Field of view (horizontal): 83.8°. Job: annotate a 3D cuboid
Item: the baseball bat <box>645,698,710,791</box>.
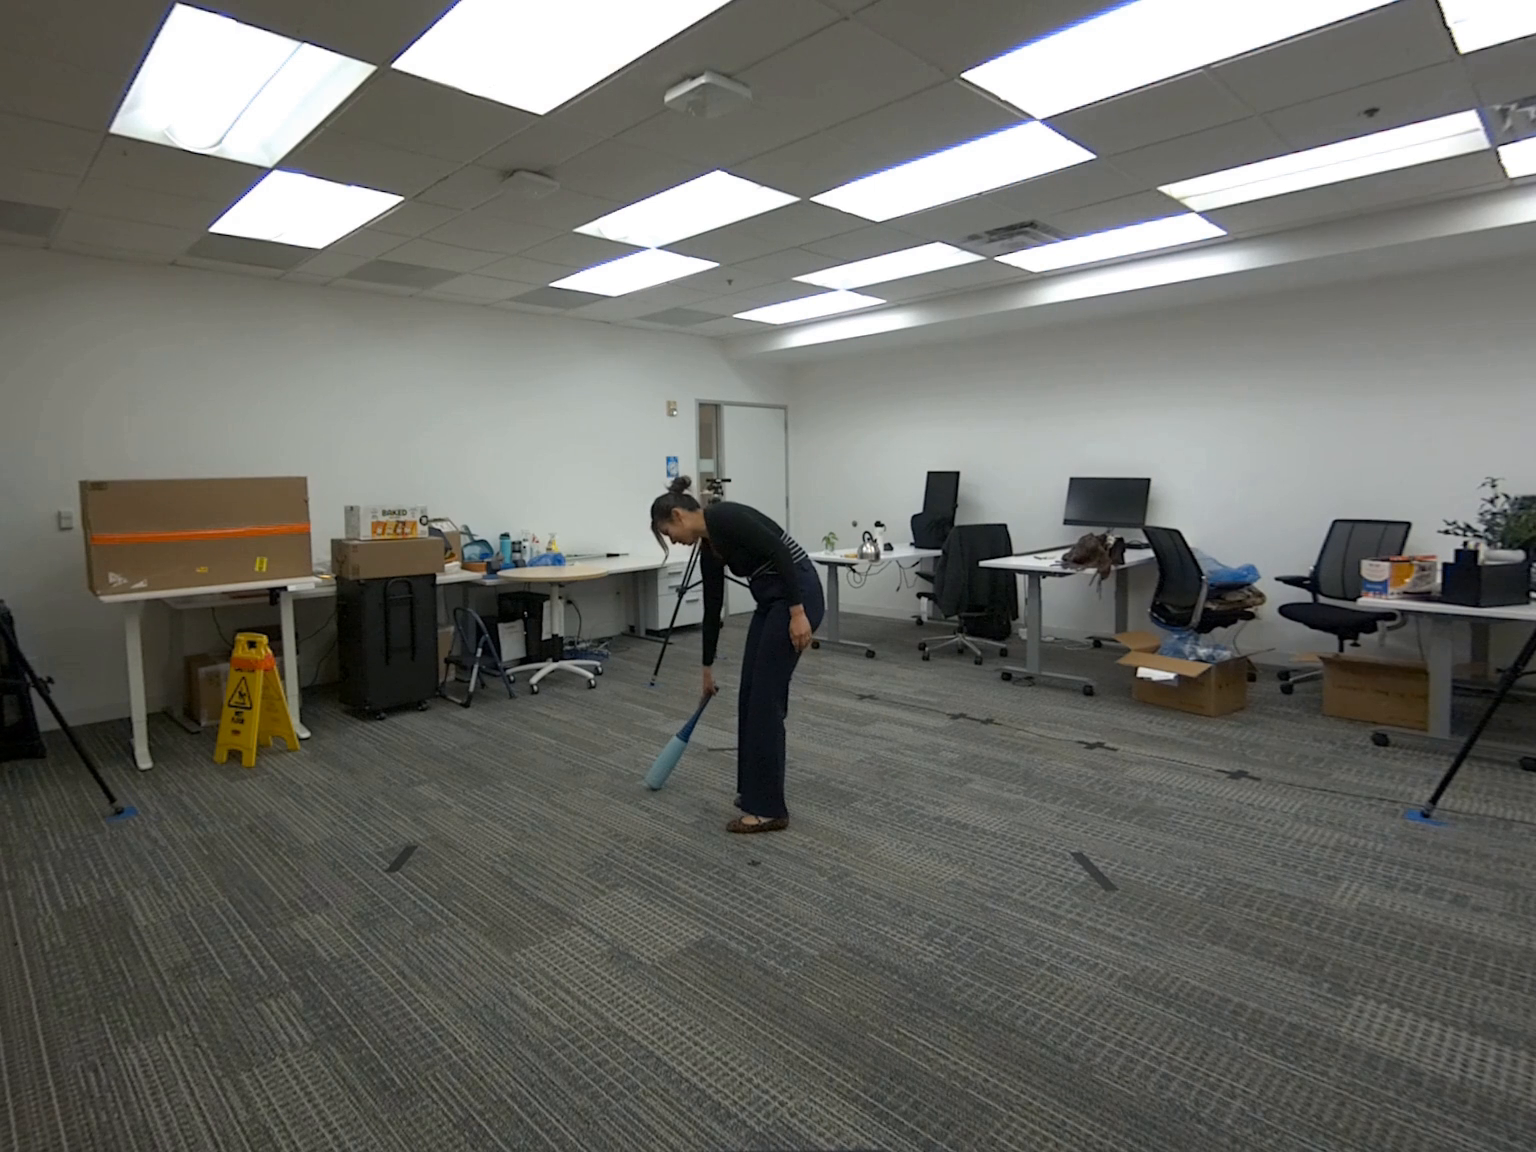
[{"bbox_3d":[-0.376,0.729,3.883,0.089,0.543,0.089,33,-3,0],"label":"baseball bat"}]
